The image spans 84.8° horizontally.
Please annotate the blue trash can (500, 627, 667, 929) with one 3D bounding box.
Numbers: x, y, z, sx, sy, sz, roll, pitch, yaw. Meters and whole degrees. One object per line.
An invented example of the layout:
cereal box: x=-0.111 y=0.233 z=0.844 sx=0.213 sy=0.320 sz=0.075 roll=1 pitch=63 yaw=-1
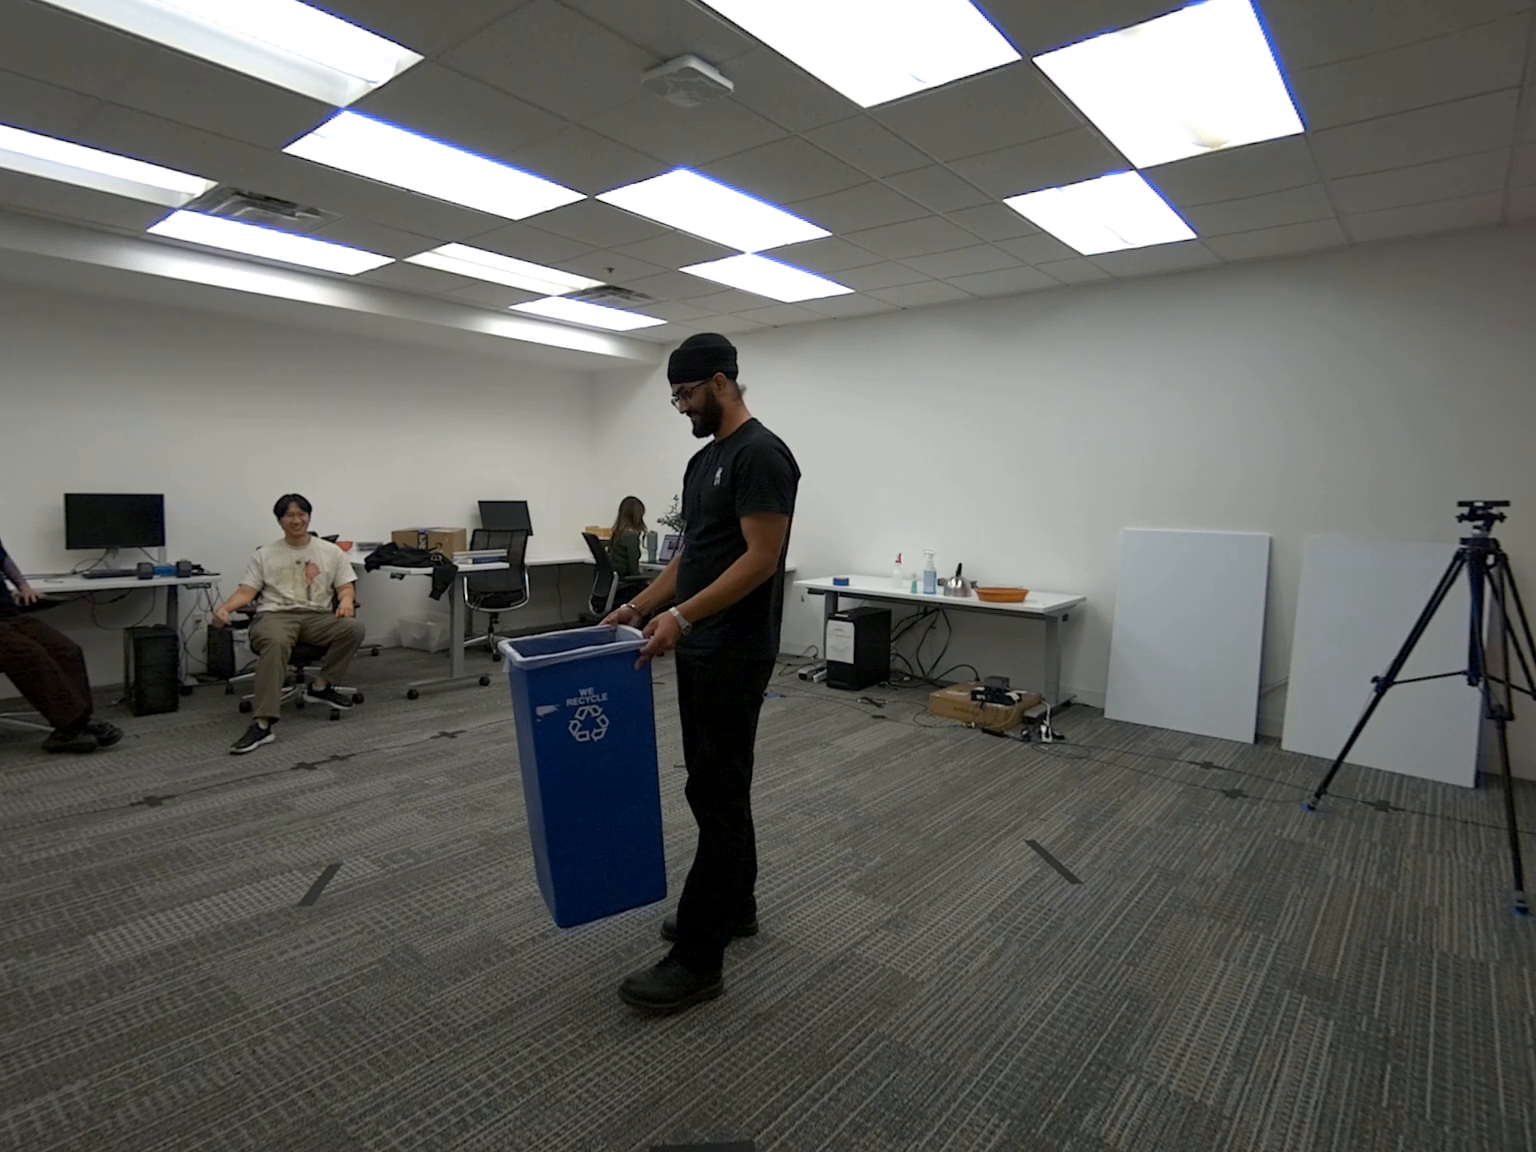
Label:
blue trash can: x=-0.508 y=0.531 z=2.356 sx=0.366 sy=0.710 sz=0.388 roll=-8 pitch=5 yaw=-25
